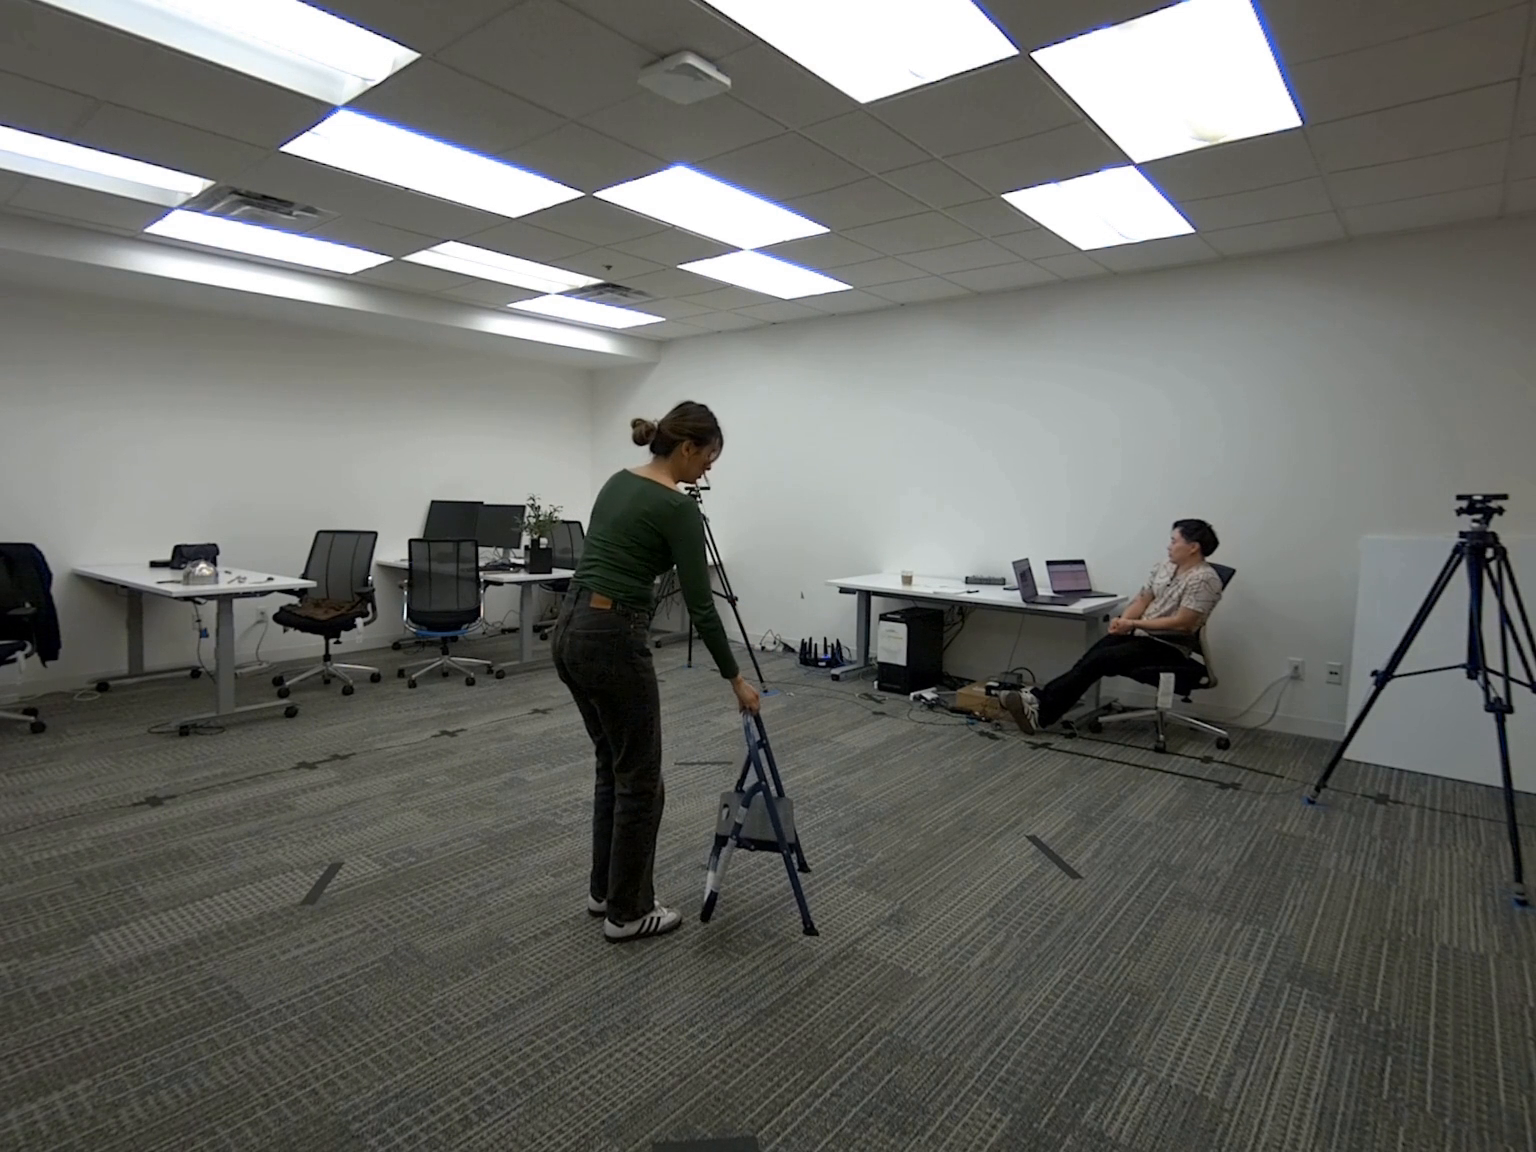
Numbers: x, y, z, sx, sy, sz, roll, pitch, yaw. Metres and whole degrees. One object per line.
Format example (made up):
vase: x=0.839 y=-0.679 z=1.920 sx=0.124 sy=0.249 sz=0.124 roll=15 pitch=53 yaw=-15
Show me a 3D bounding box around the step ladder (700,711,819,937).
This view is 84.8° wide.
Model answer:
step ladder: x=-0.018 y=0.716 z=2.686 sx=0.350 sy=0.604 sz=0.431 roll=5 pitch=4 yaw=1
